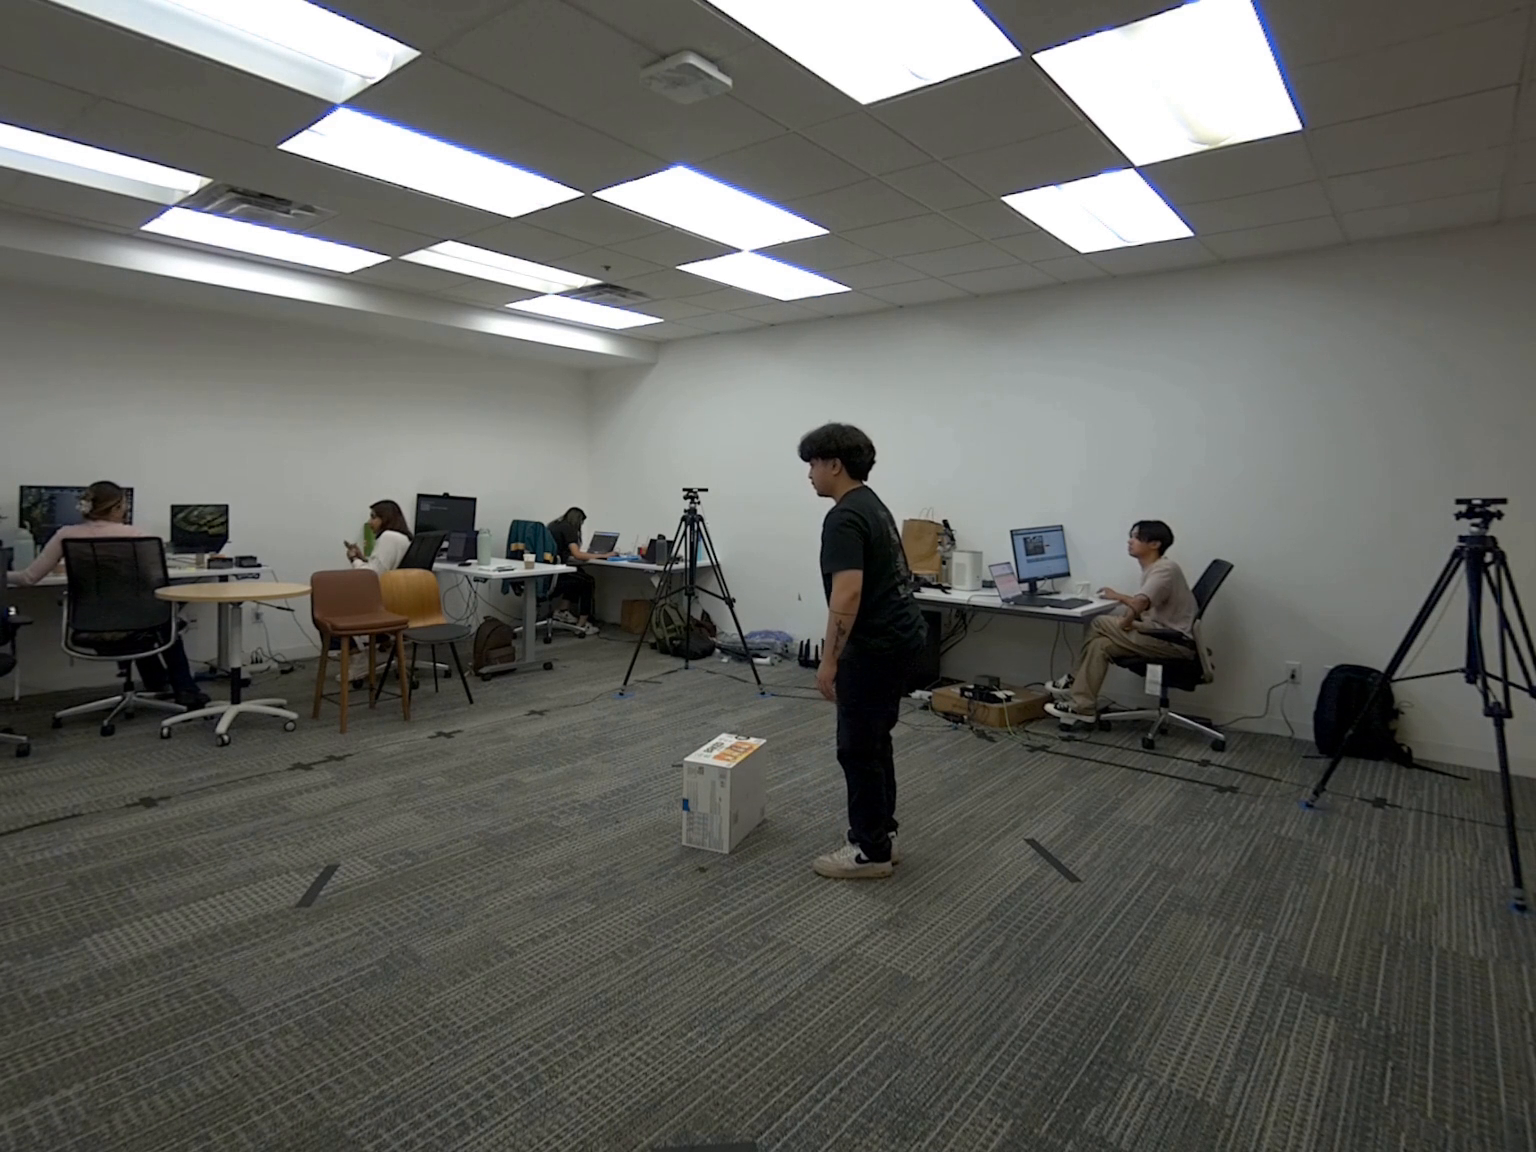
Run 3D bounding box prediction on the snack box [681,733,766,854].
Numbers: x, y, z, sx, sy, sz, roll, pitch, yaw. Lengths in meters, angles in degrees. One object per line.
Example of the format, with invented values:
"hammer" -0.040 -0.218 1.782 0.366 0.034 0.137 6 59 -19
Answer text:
"snack box" -0.181 0.866 3.452 0.210 0.339 0.397 3 5 21
